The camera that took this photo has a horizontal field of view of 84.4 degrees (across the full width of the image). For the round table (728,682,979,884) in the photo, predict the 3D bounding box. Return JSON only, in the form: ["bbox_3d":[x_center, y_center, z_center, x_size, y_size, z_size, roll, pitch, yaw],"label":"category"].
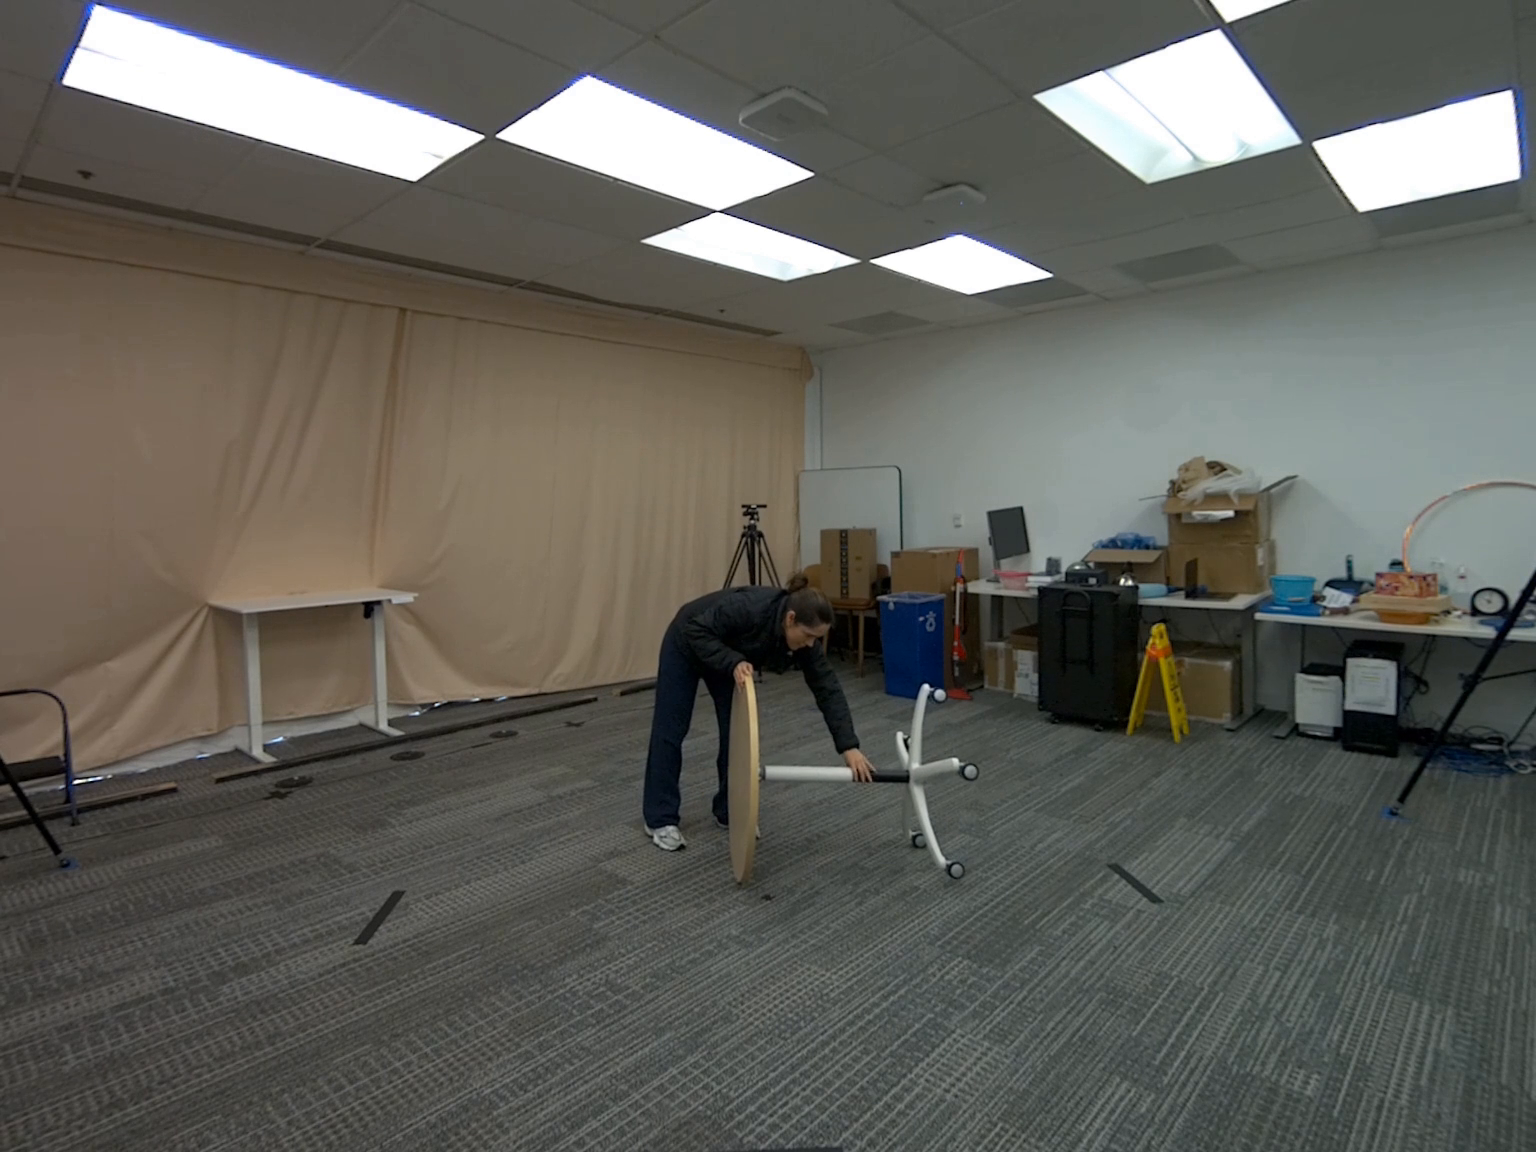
[{"bbox_3d":[0.295,0.765,3.200,0.783,0.783,0.791,3,4,-5],"label":"round table"}]
